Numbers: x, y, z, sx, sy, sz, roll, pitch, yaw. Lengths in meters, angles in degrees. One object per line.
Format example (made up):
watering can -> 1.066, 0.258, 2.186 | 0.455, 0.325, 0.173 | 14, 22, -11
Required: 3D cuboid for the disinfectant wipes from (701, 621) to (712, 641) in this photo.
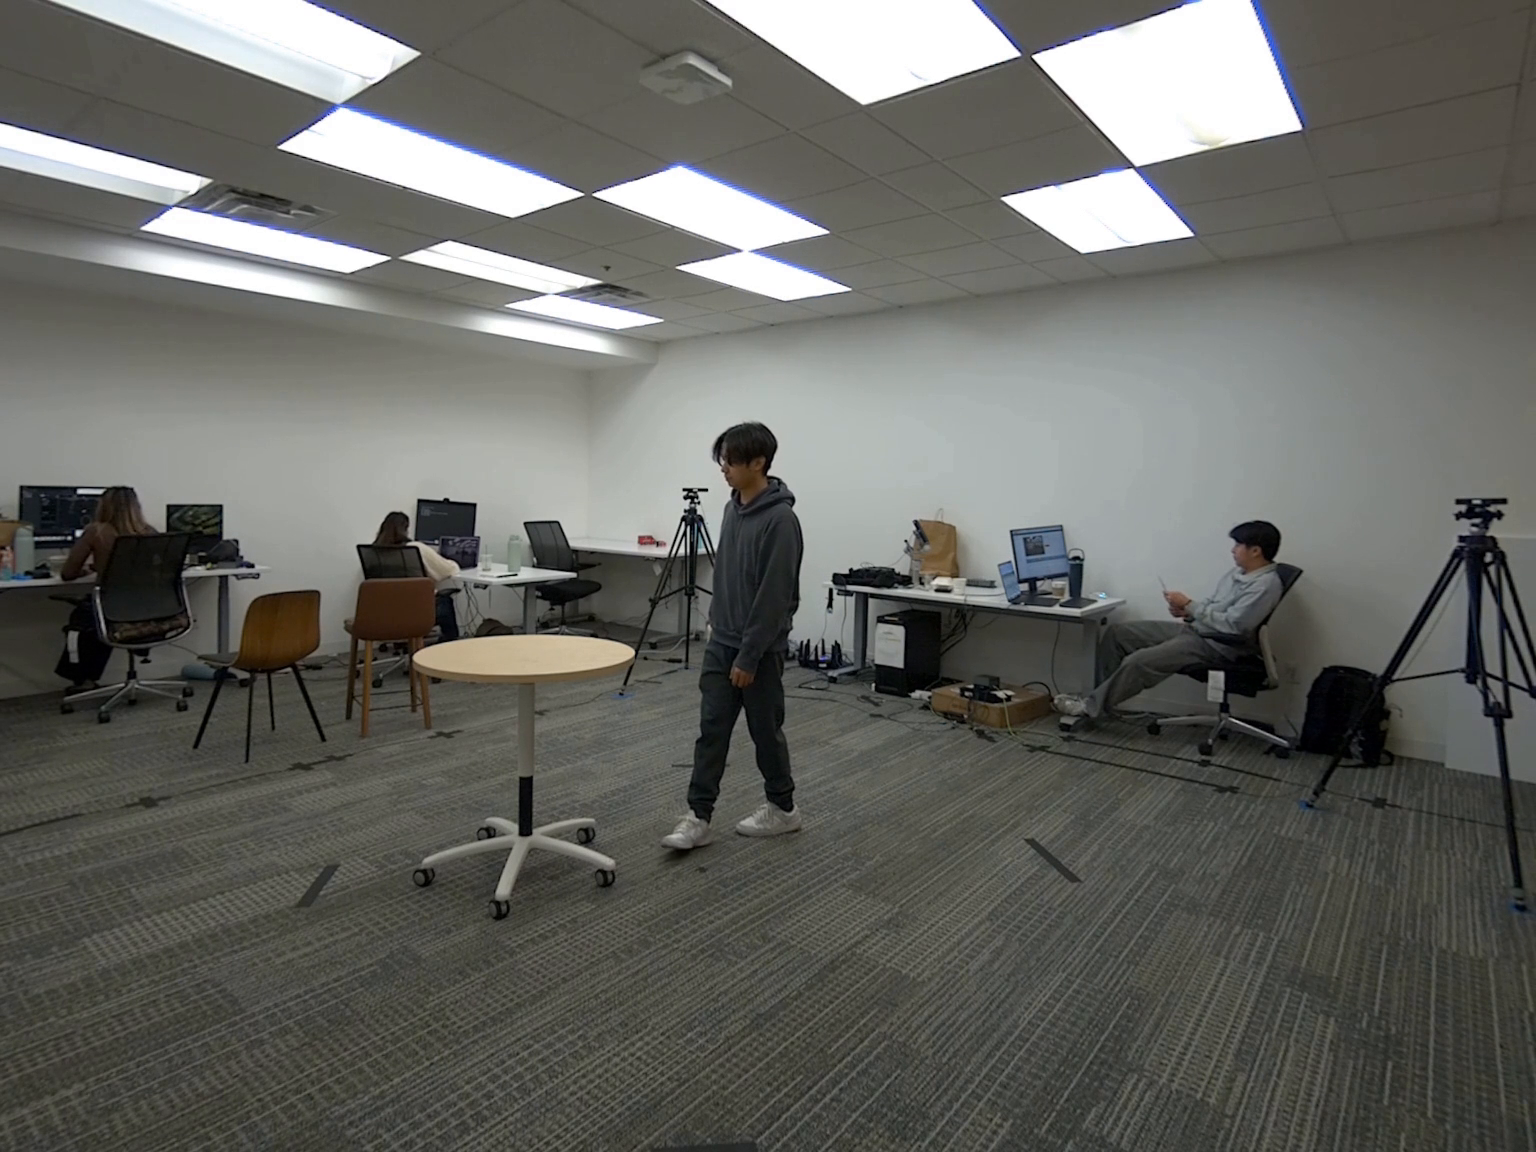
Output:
disinfectant wipes -> -0.216, 0.316, 3.705 | 0.117, 0.219, 0.117 | -2, -6, -2
